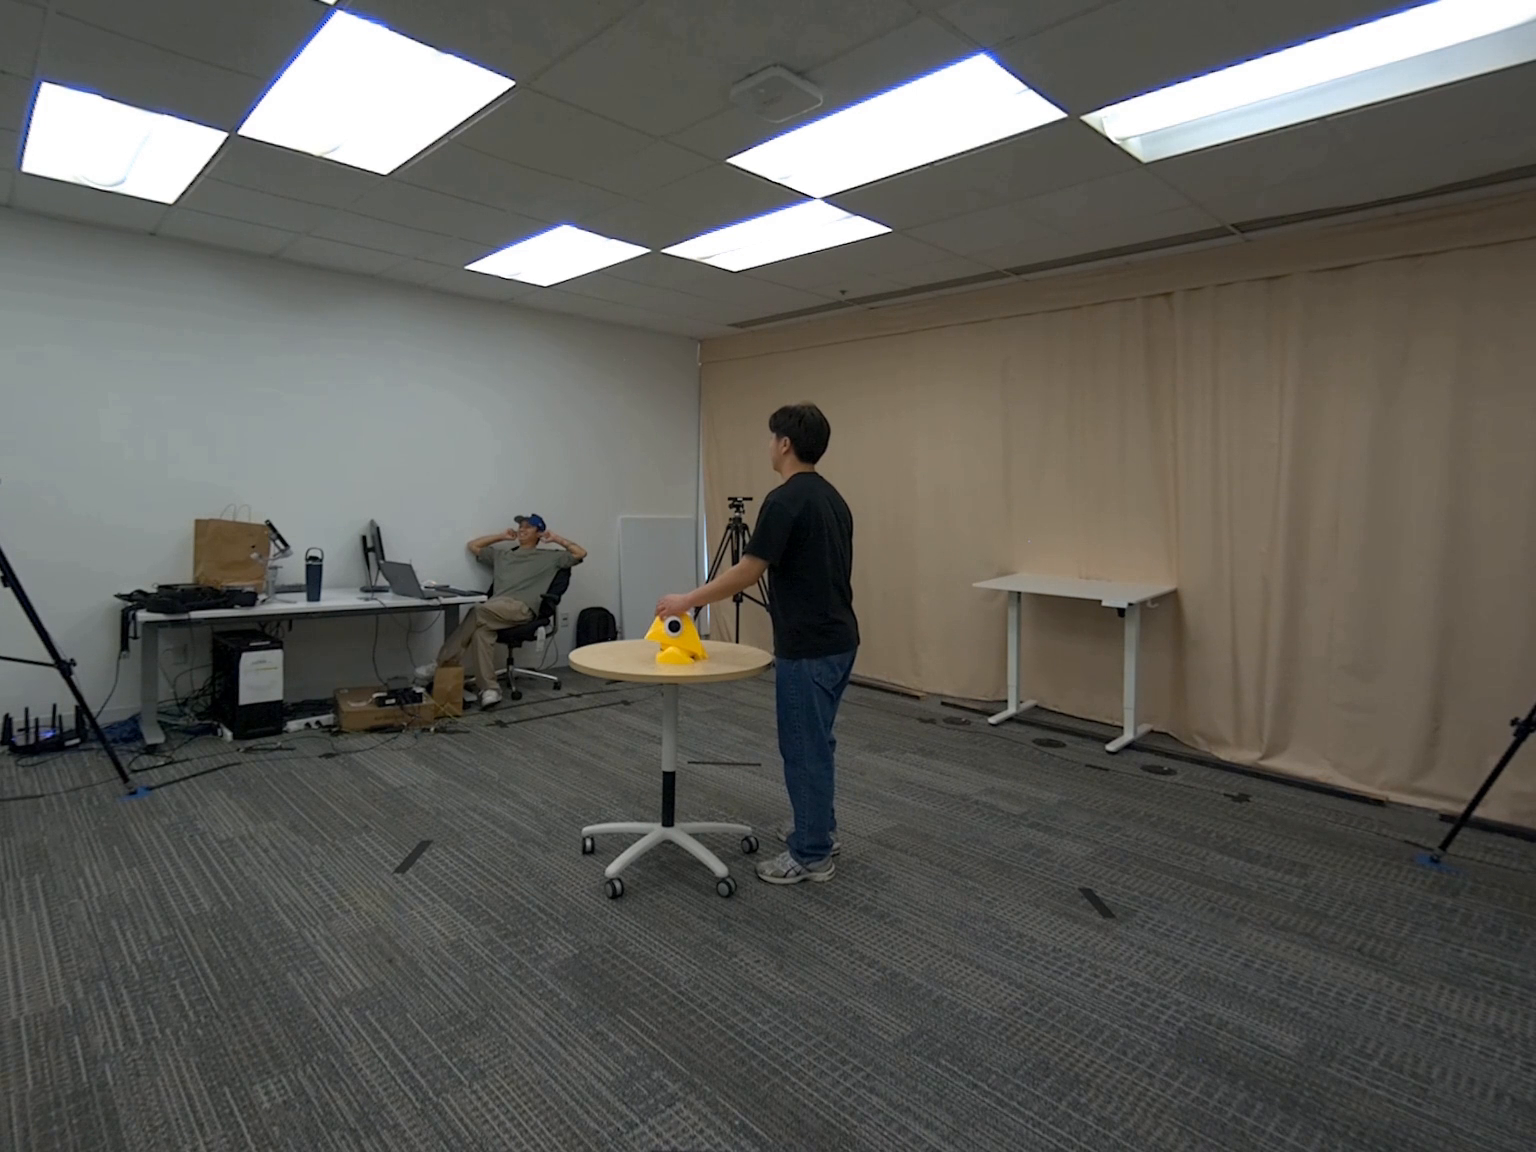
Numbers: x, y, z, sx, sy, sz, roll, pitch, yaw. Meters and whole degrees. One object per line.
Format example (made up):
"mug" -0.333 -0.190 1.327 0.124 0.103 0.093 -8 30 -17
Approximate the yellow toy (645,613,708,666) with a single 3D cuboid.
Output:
"yellow toy" -0.328 0.193 3.109 0.196 0.230 0.201 3 5 23
